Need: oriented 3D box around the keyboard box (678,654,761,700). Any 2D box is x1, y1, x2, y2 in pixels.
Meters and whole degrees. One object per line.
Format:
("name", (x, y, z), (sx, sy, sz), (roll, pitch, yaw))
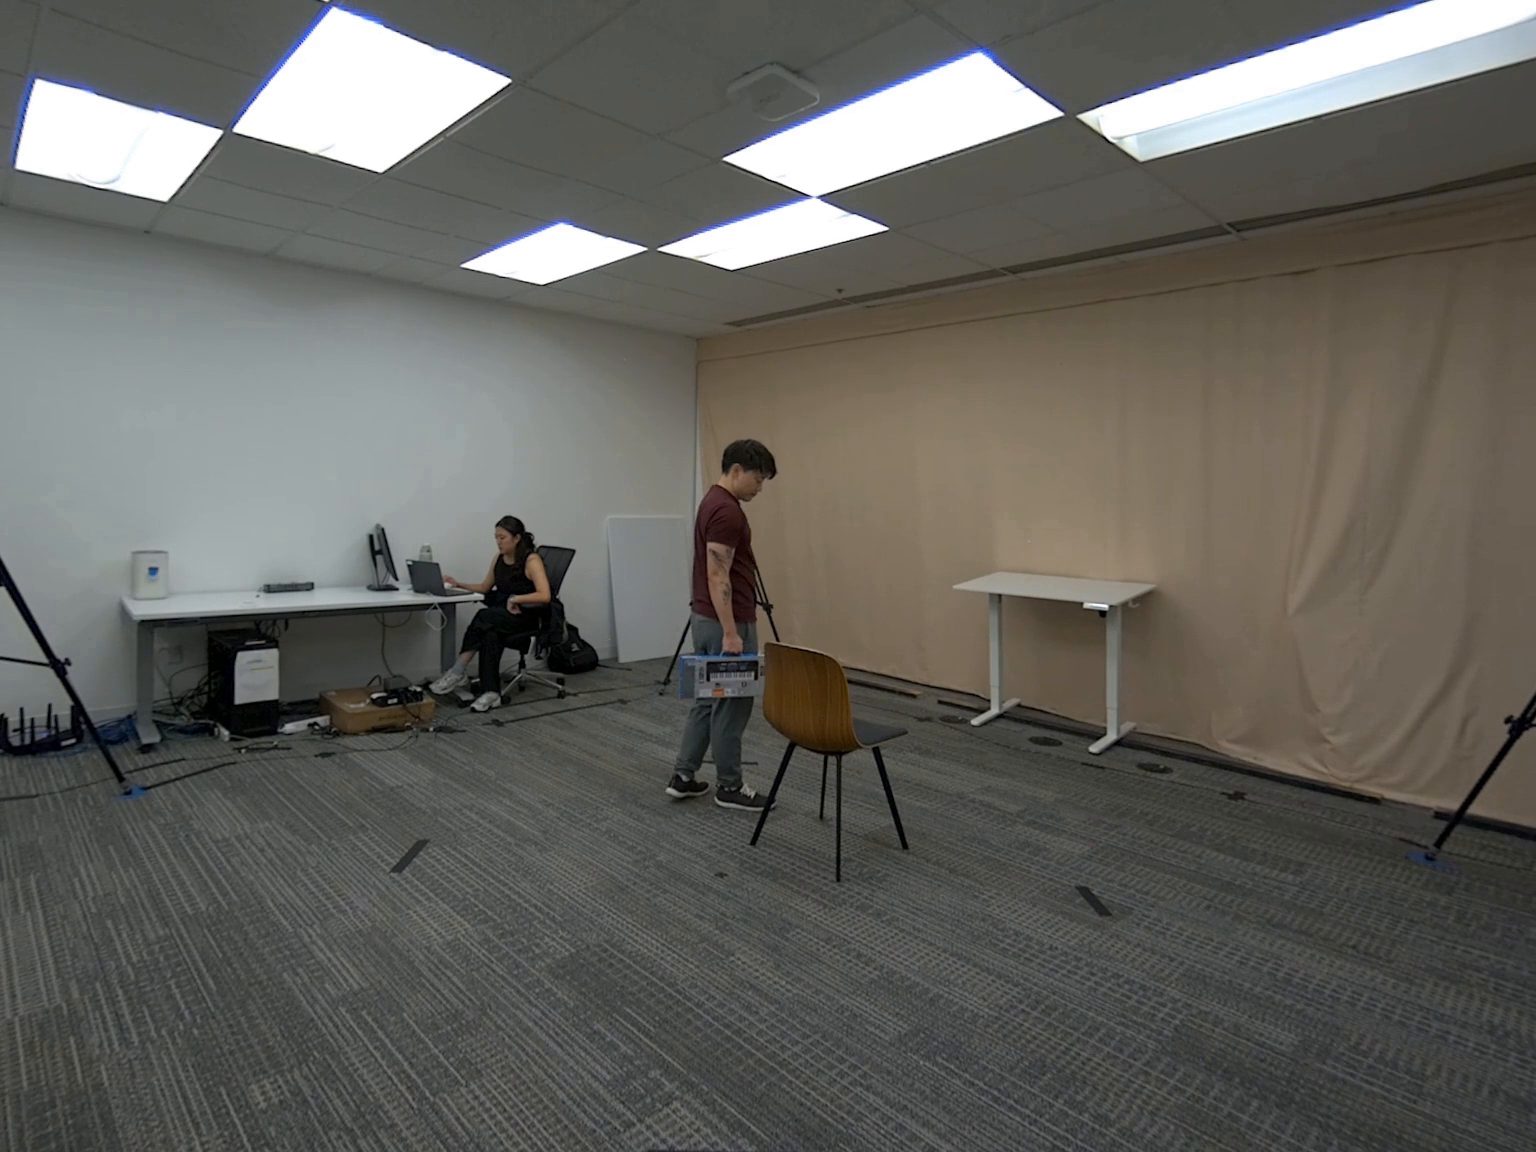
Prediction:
("keyboard box", (-0.173, 0.426, 3.584), (0.432, 0.175, 0.060), (0, 5, -13))
